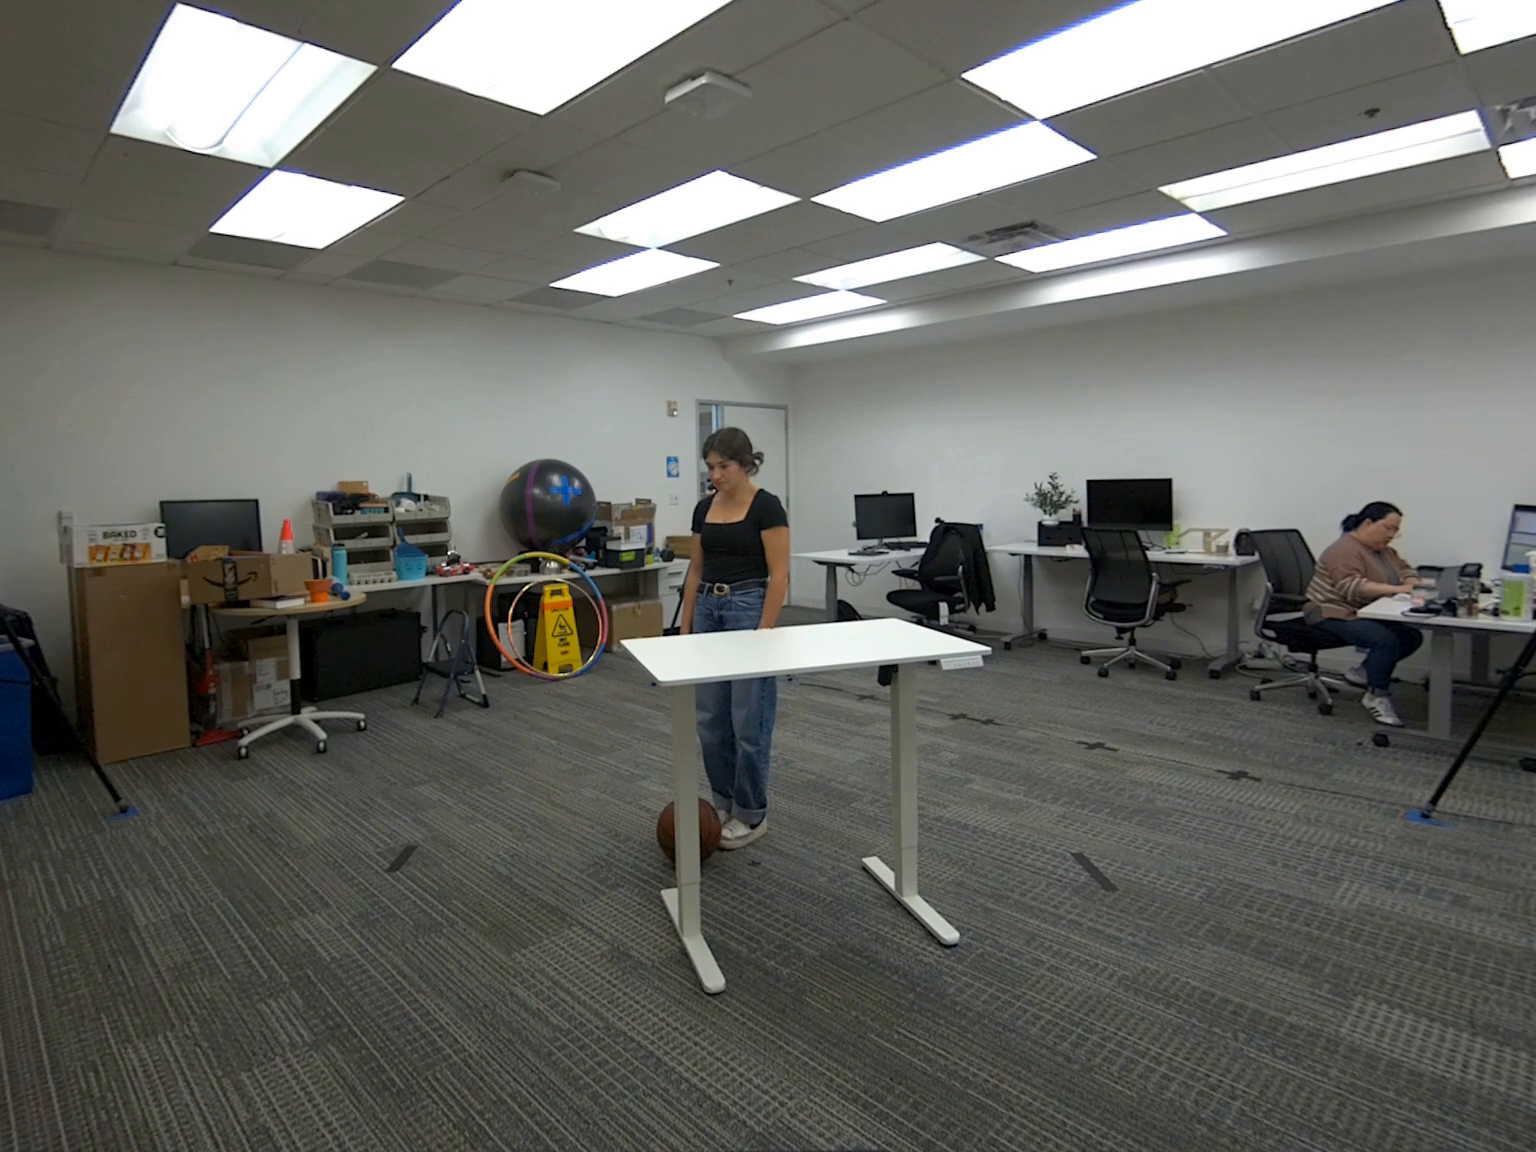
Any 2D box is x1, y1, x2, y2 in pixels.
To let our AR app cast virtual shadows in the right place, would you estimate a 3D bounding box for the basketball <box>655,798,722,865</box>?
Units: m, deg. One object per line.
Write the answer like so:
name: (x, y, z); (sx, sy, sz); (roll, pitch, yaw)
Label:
basketball: (-0.286, 0.922, 3.126); (0.236, 0.235, 0.237); (-1, 5, -2)
